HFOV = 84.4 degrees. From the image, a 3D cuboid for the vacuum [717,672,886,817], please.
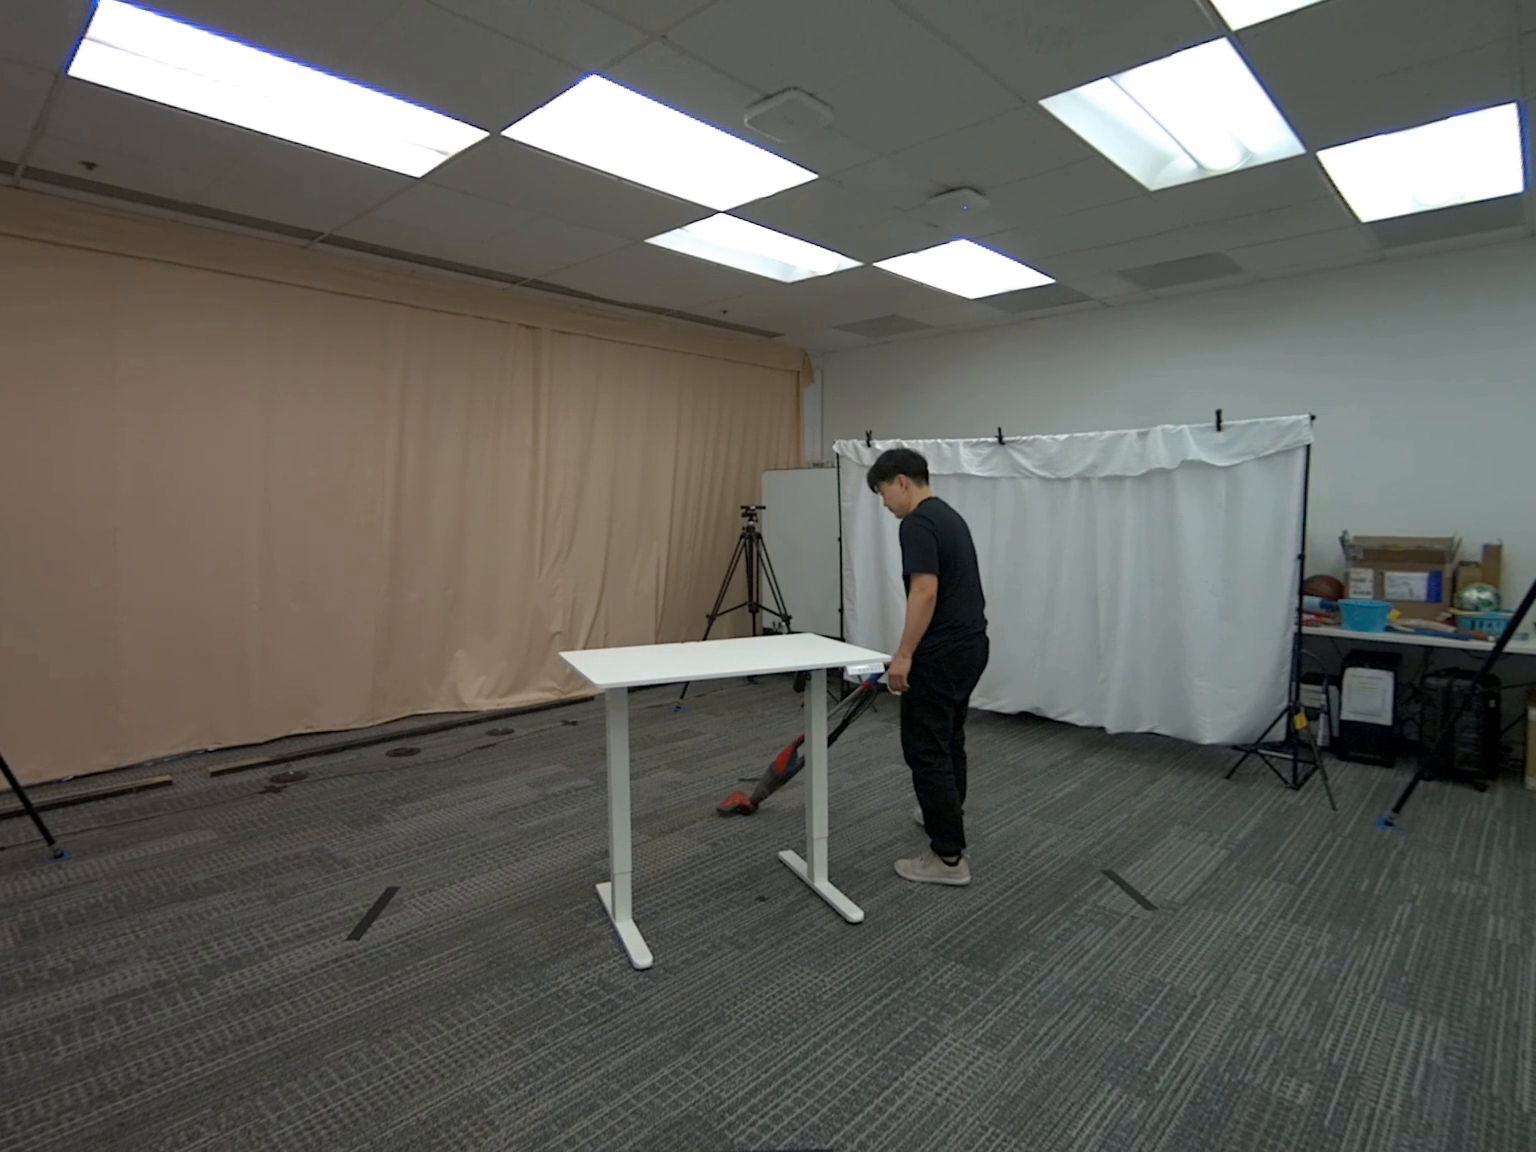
[{"bbox_3d":[0.232,0.700,3.693,1.055,0.146,0.247,-44,-13,19],"label":"vacuum"}]
